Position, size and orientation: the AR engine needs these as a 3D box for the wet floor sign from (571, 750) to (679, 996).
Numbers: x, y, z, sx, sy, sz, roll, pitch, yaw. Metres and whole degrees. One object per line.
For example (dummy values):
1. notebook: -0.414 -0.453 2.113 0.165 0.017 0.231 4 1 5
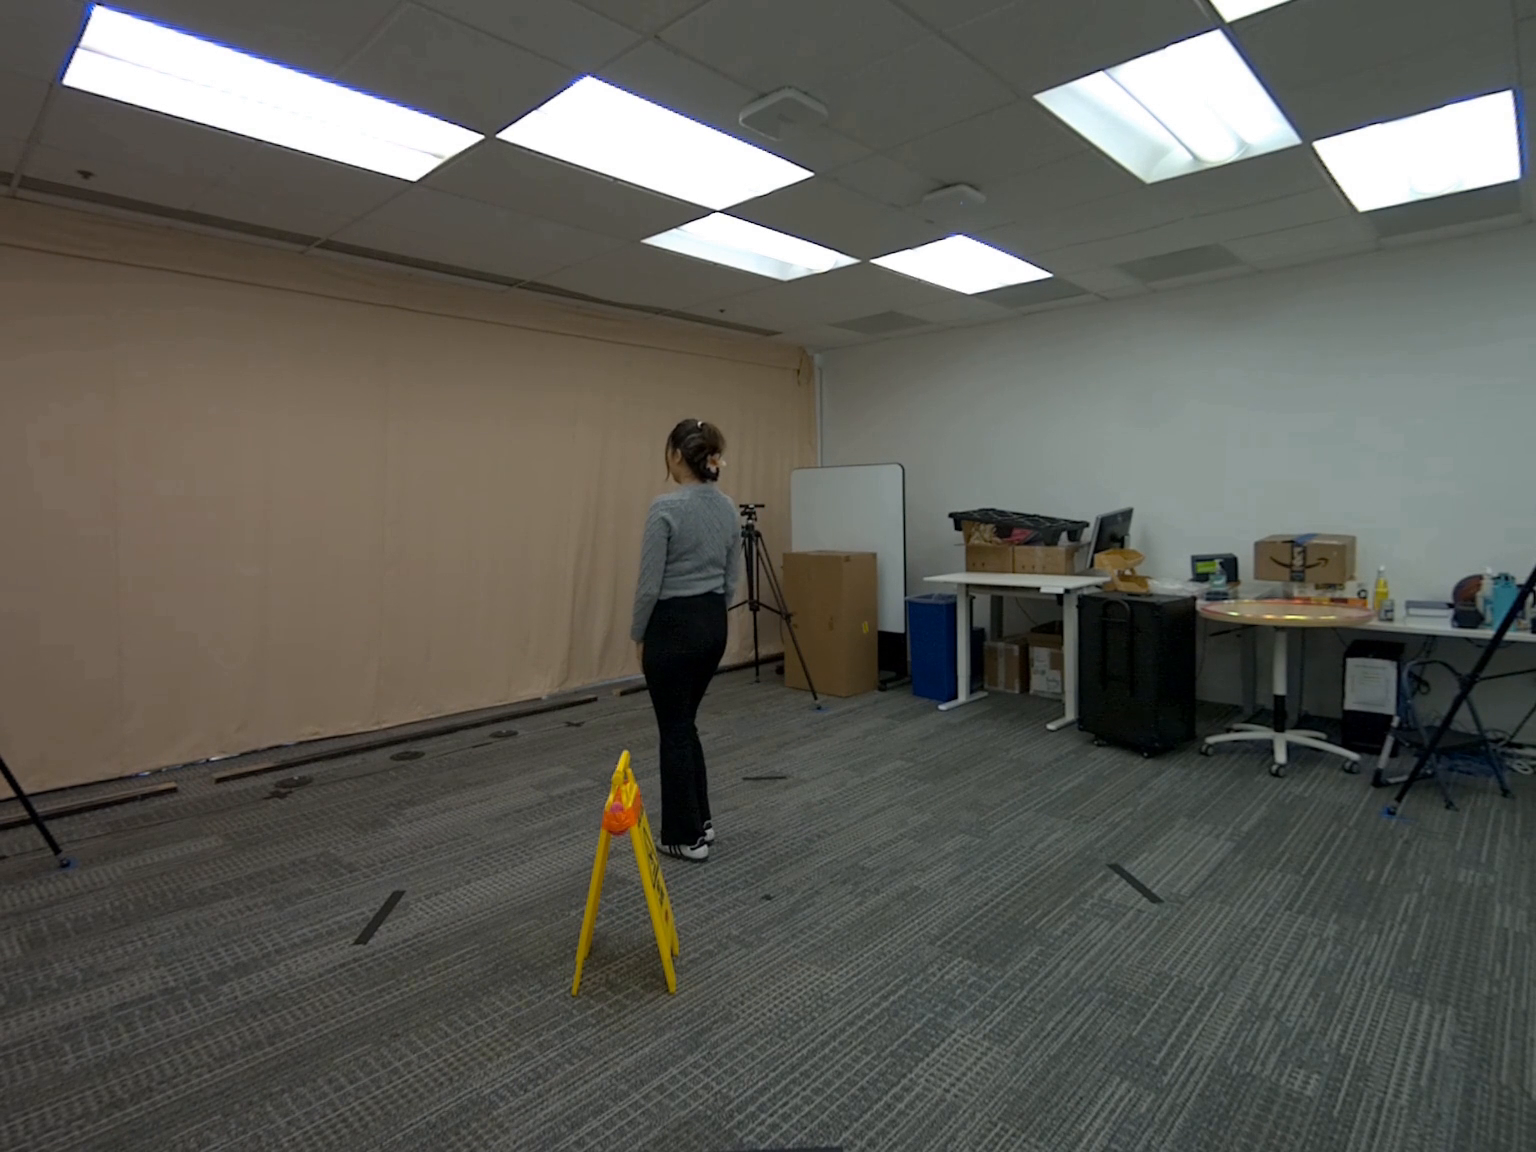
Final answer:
1. wet floor sign: -0.430 0.864 2.520 0.289 0.645 0.283 -2 2 -2
